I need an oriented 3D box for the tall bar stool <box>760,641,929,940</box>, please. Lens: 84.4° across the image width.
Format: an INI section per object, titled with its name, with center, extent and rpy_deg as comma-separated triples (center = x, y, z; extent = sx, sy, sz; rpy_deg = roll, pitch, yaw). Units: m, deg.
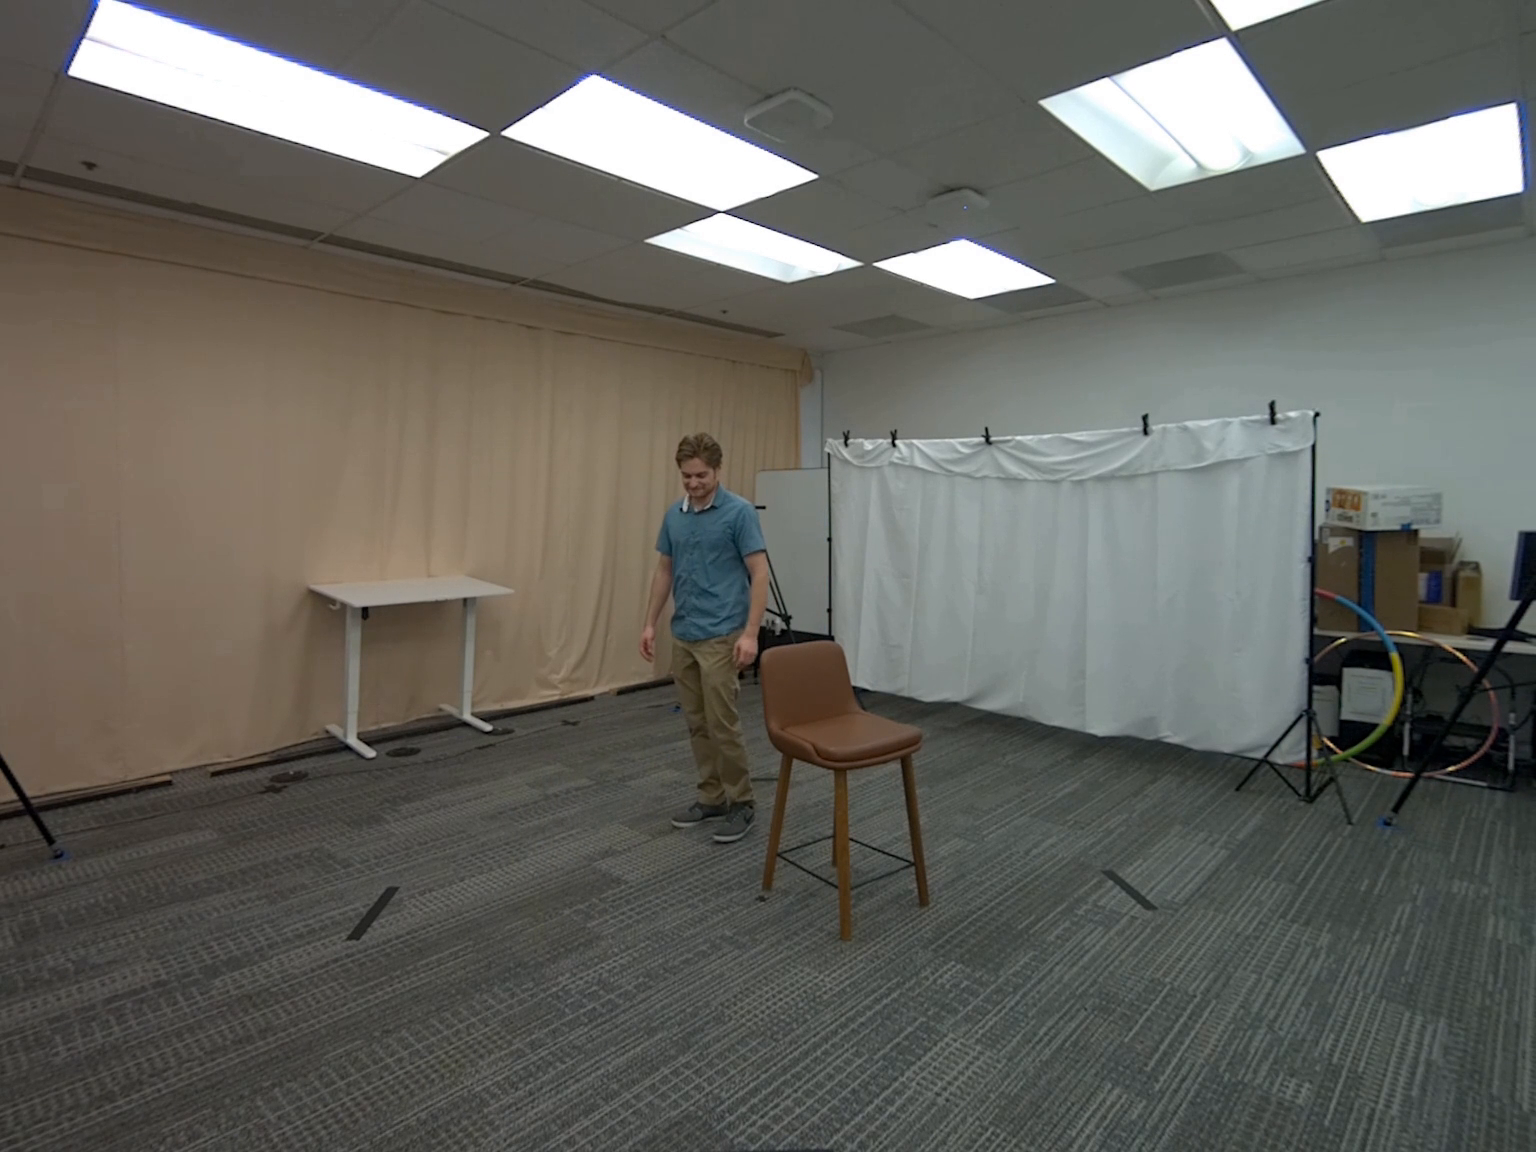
[tall bar stool]
center = 0.261, 0.709, 2.968
extent = 0.443, 0.889, 0.482
rpy_deg = -3, 2, -38
